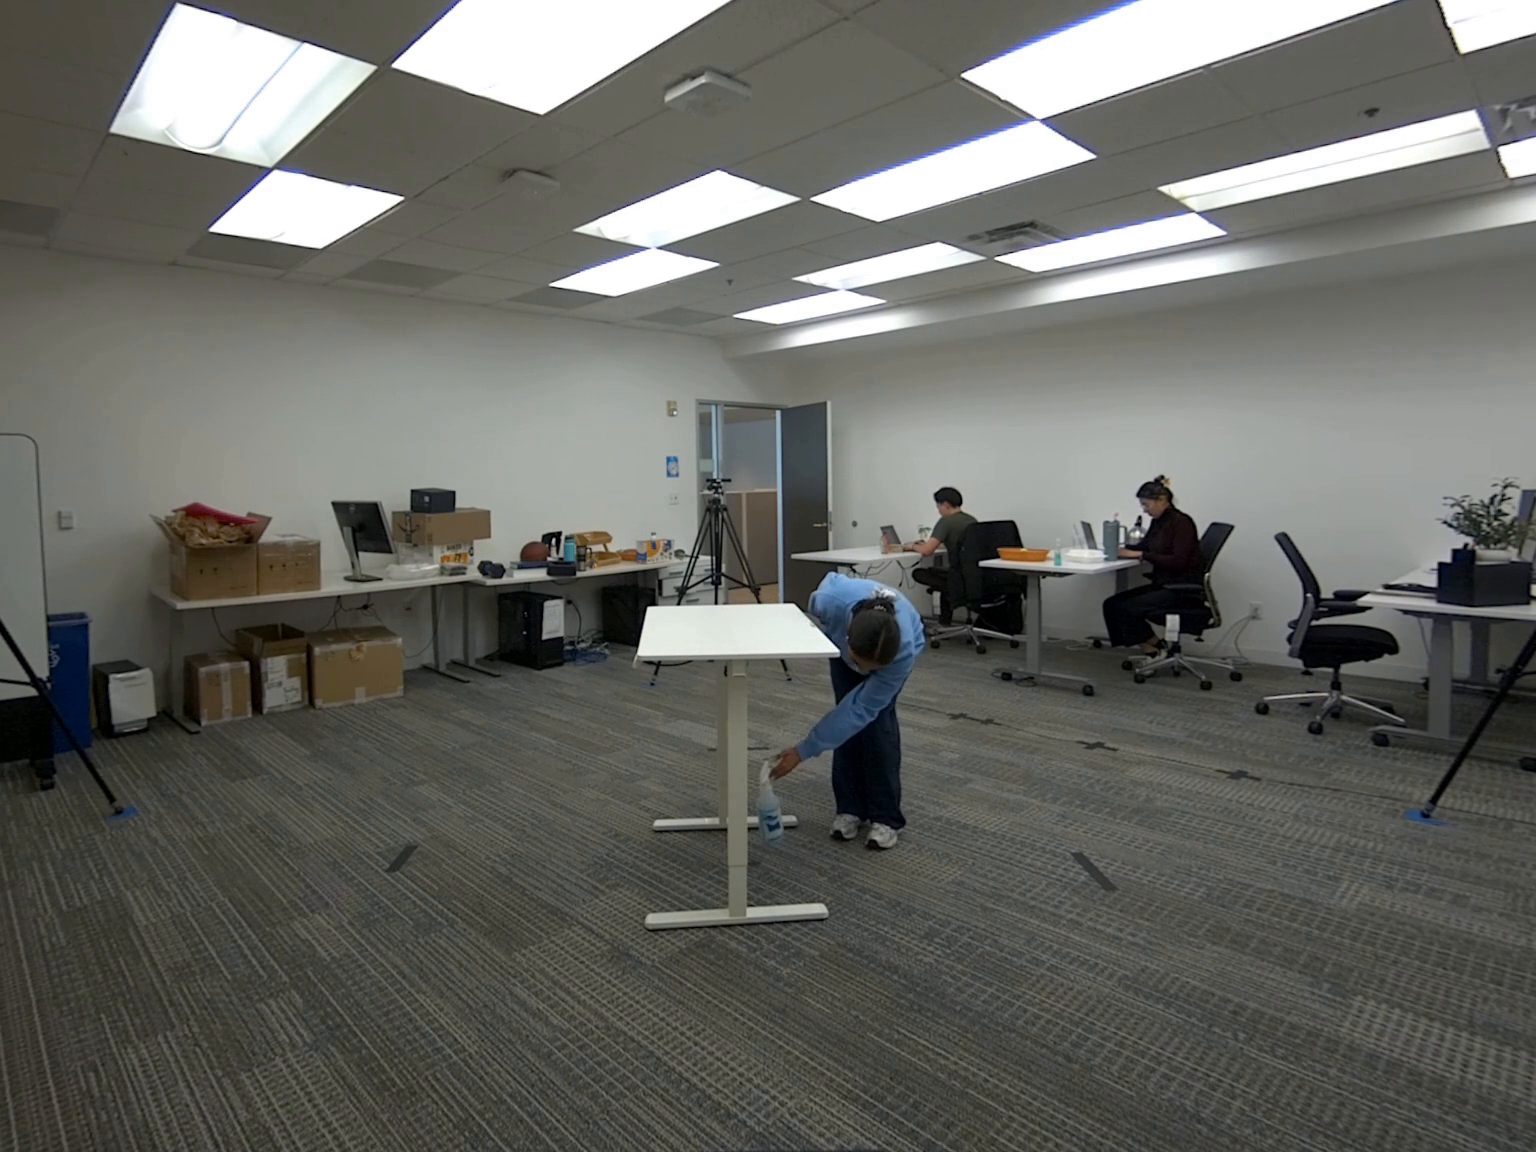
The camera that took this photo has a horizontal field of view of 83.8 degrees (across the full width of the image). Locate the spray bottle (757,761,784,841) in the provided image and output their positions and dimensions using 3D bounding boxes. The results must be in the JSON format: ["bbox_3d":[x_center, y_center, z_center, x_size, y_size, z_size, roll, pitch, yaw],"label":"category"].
[{"bbox_3d":[0.006,0.822,3.076,0.090,0.292,0.088,12,25,43],"label":"spray bottle"}]
